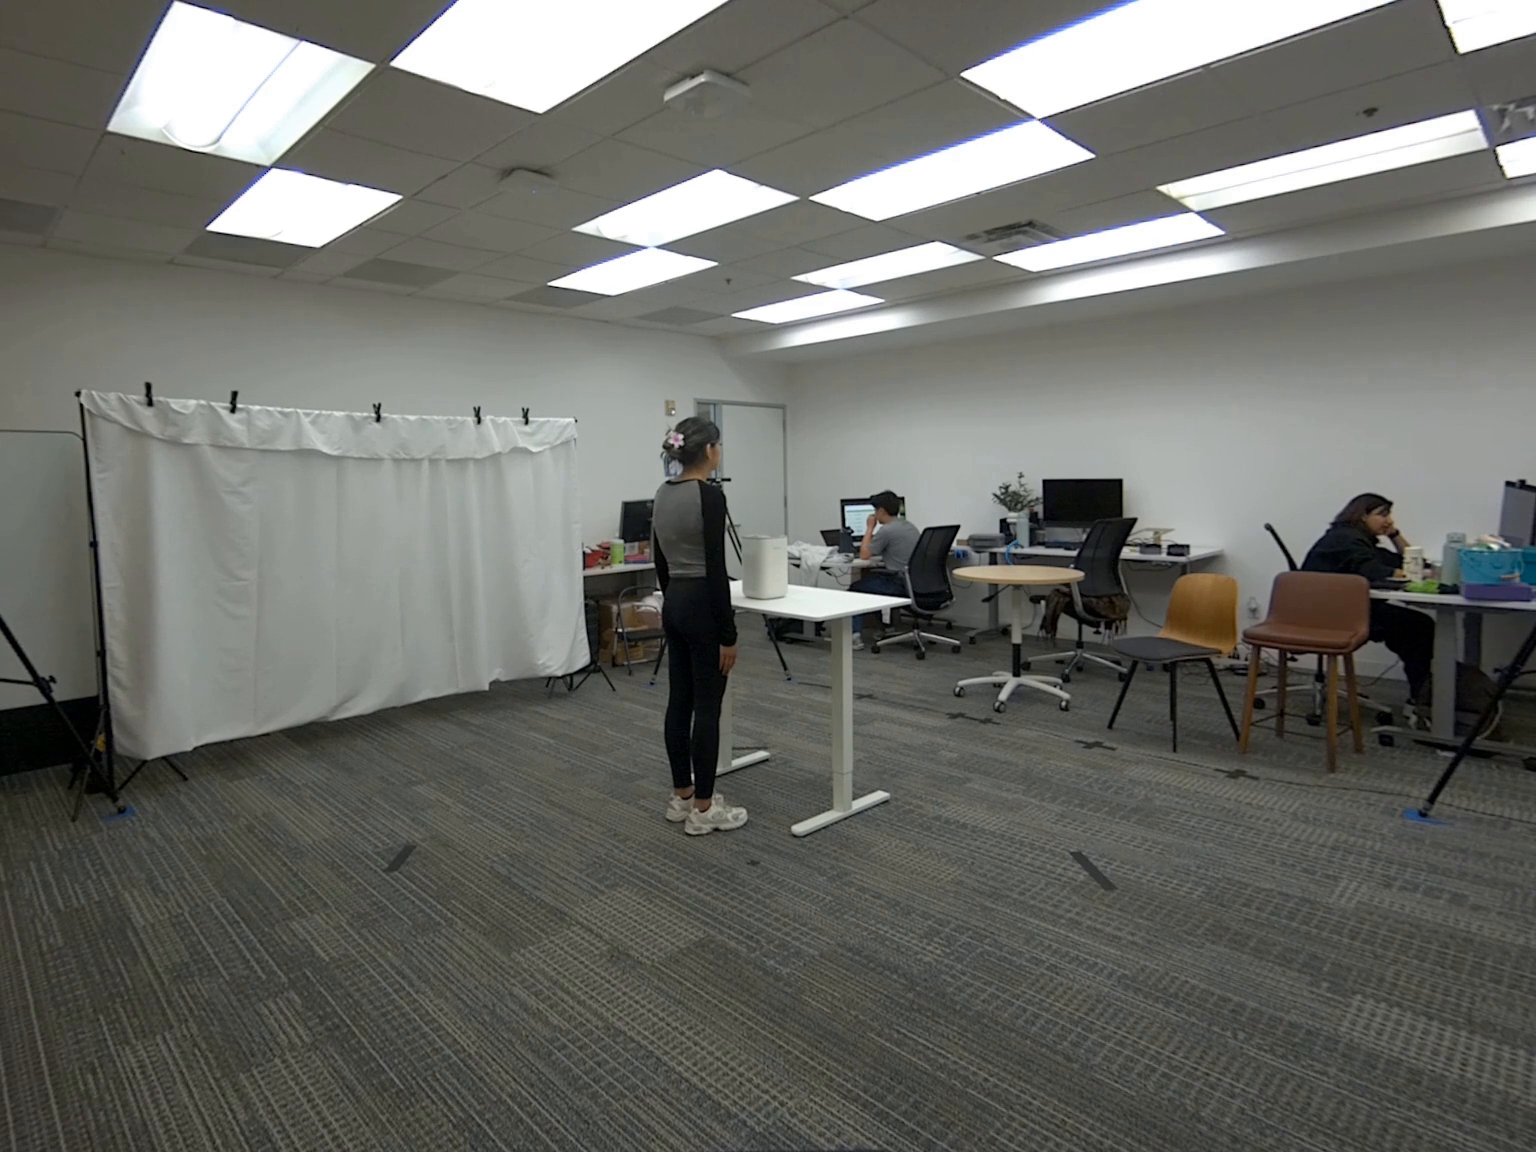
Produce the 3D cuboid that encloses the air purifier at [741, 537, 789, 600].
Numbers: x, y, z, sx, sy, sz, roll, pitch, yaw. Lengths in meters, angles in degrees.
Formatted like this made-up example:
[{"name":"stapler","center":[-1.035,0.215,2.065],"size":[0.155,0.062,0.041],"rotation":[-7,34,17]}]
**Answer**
[{"name":"air purifier","center":[-0.019,-0.043,3.694],"size":[0.167,0.264,0.177],"rotation":[-6,7,-40]}]
